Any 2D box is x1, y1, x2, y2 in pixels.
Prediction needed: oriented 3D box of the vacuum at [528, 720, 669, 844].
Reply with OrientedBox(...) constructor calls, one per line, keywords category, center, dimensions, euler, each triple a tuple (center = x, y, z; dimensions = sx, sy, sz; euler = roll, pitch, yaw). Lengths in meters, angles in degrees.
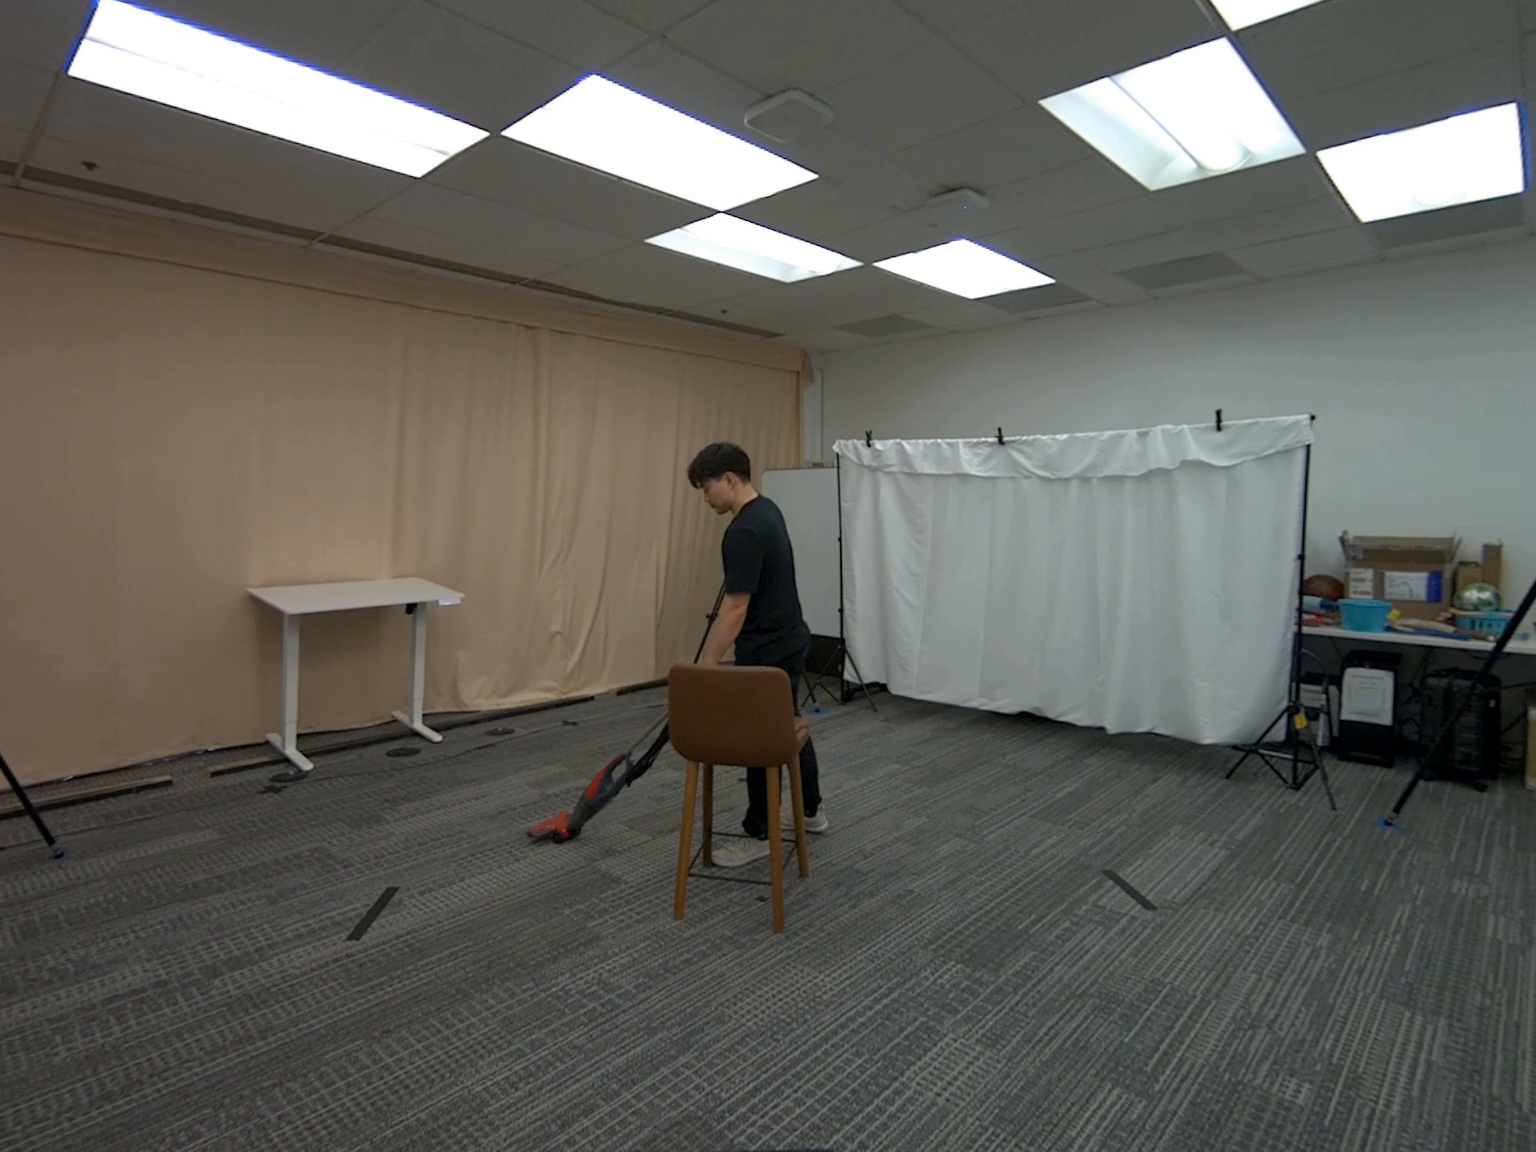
OrientedBox(category="vacuum", center=(-0.544, 0.750, 3.363), dimensions=(1.057, 0.146, 0.247), euler=(-43, -13, 23))
